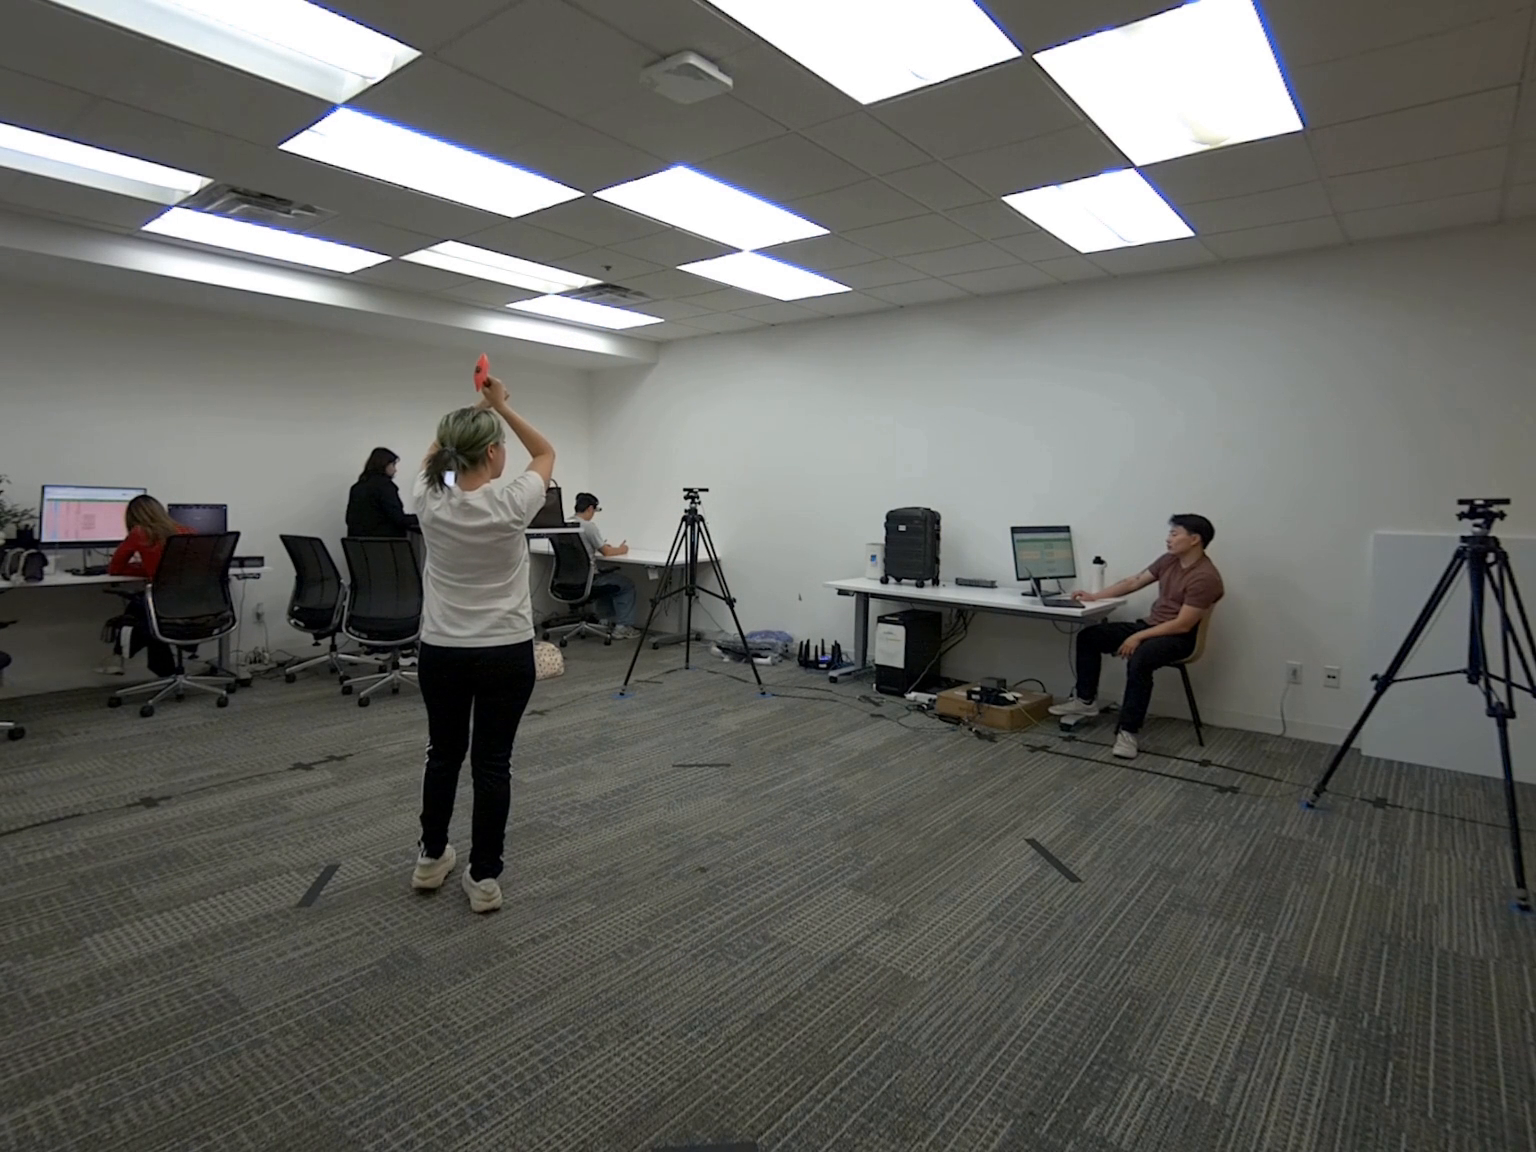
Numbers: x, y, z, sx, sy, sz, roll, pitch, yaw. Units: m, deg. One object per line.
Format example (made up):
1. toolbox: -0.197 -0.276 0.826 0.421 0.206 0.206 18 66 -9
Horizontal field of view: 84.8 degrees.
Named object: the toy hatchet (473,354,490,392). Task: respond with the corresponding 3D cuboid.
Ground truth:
1. toy hatchet: -0.952 -0.678 2.867 0.029 0.130 0.272 -1 6 -2
